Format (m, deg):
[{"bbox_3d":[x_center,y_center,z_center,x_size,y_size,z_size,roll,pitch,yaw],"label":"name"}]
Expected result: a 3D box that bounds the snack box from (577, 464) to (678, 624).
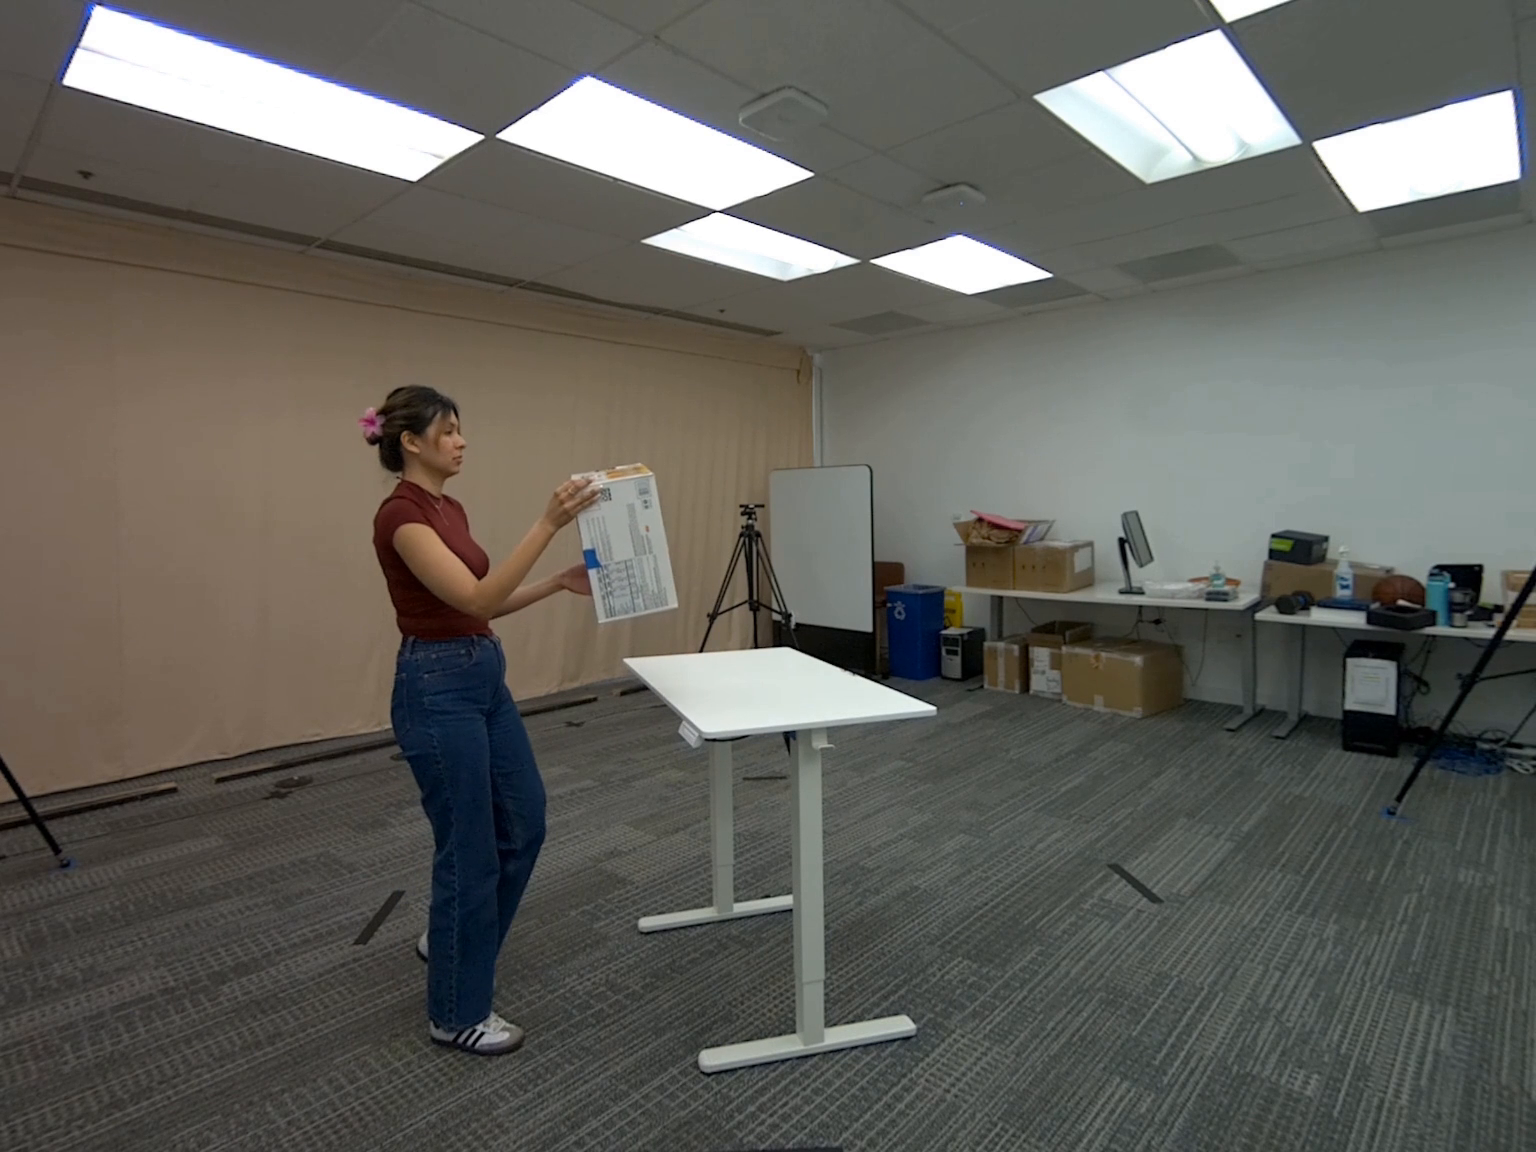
[{"bbox_3d":[-0.383,-0.104,2.220,0.204,0.337,0.412,-11,12,-10],"label":"snack box"}]
